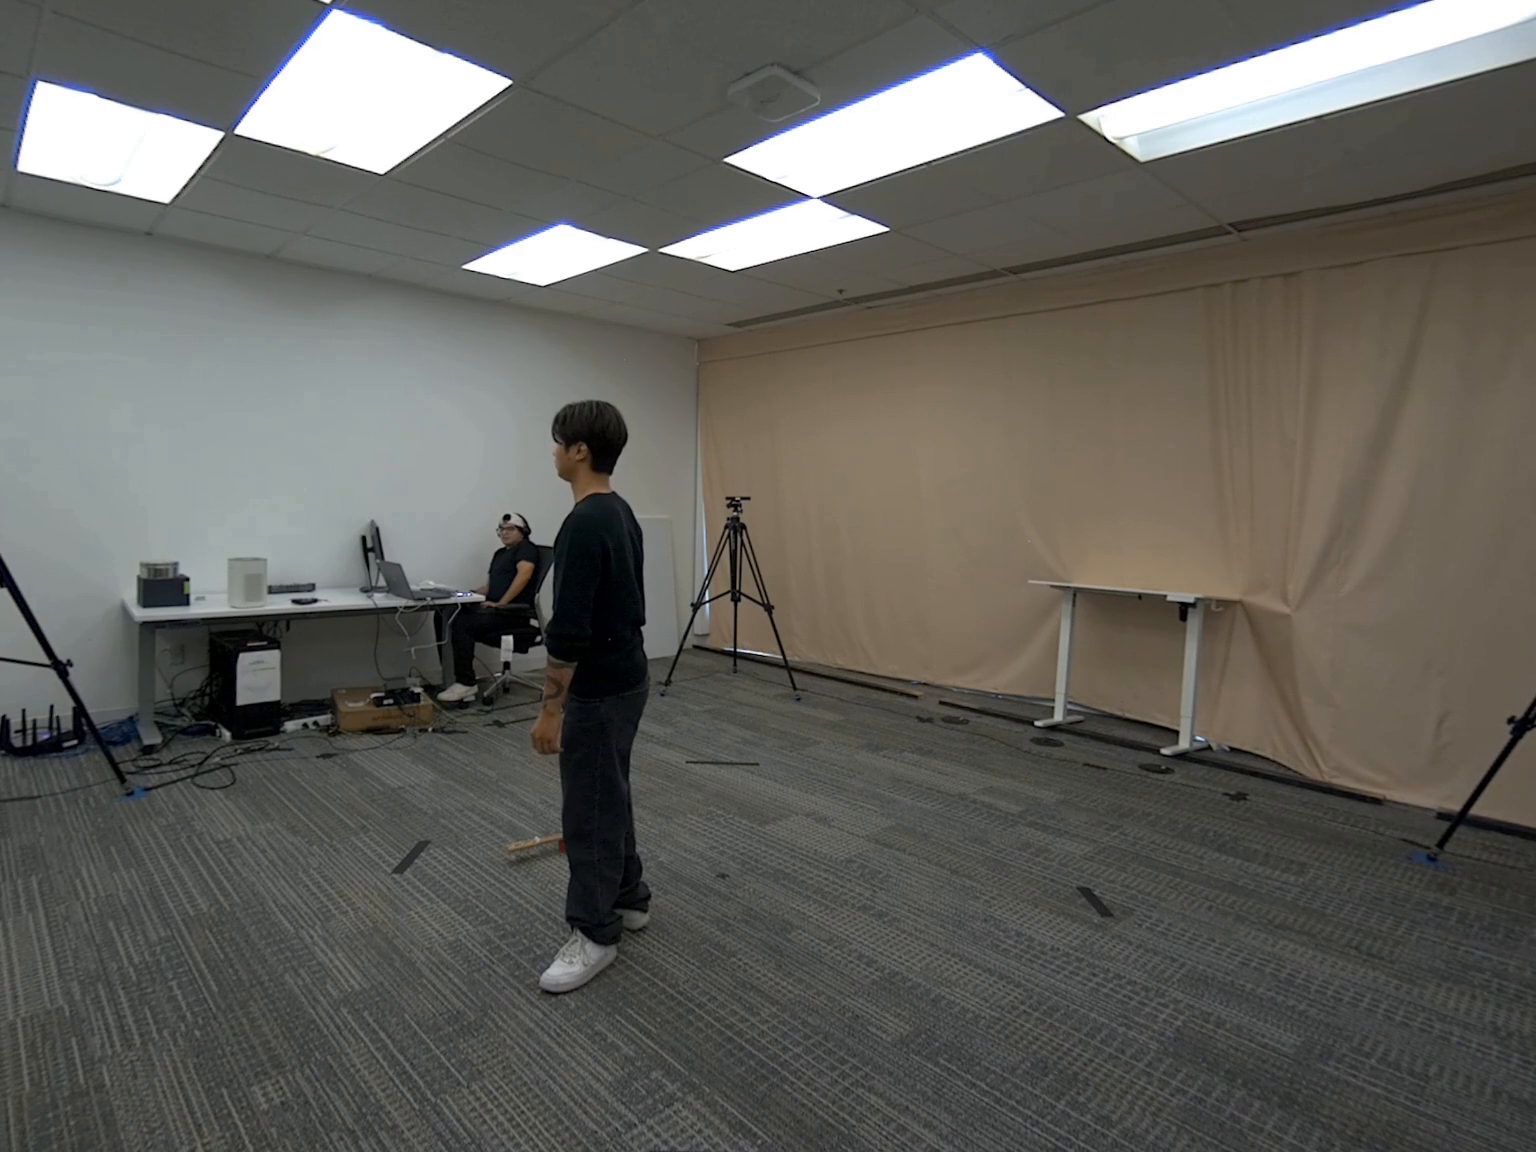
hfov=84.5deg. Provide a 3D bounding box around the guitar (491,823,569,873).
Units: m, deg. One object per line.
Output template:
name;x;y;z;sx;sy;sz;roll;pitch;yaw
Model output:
guitar;-0.814;1.044;3.329;0.488;0.070;0.197;-1;6;-29
